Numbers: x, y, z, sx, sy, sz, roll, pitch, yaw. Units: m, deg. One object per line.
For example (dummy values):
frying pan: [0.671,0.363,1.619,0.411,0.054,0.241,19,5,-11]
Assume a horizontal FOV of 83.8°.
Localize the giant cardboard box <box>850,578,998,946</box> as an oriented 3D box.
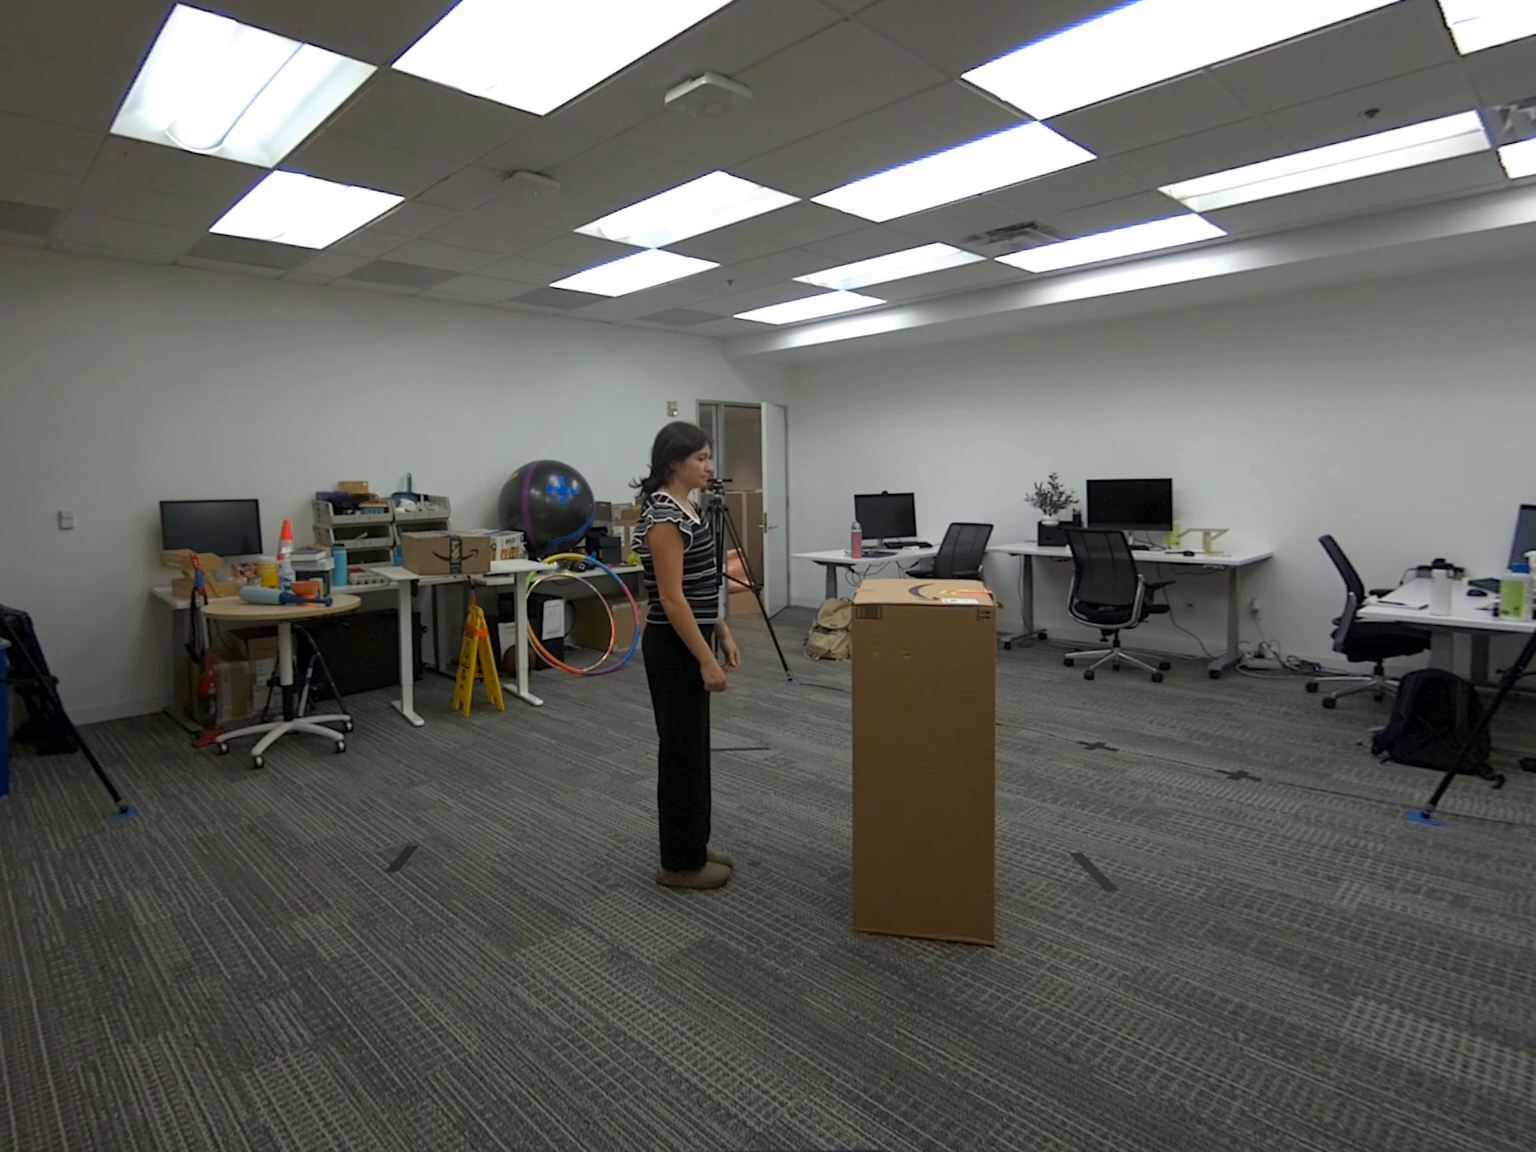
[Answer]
giant cardboard box: [0.509,0.555,2.820,0.431,1.022,0.573,0,4,11]
